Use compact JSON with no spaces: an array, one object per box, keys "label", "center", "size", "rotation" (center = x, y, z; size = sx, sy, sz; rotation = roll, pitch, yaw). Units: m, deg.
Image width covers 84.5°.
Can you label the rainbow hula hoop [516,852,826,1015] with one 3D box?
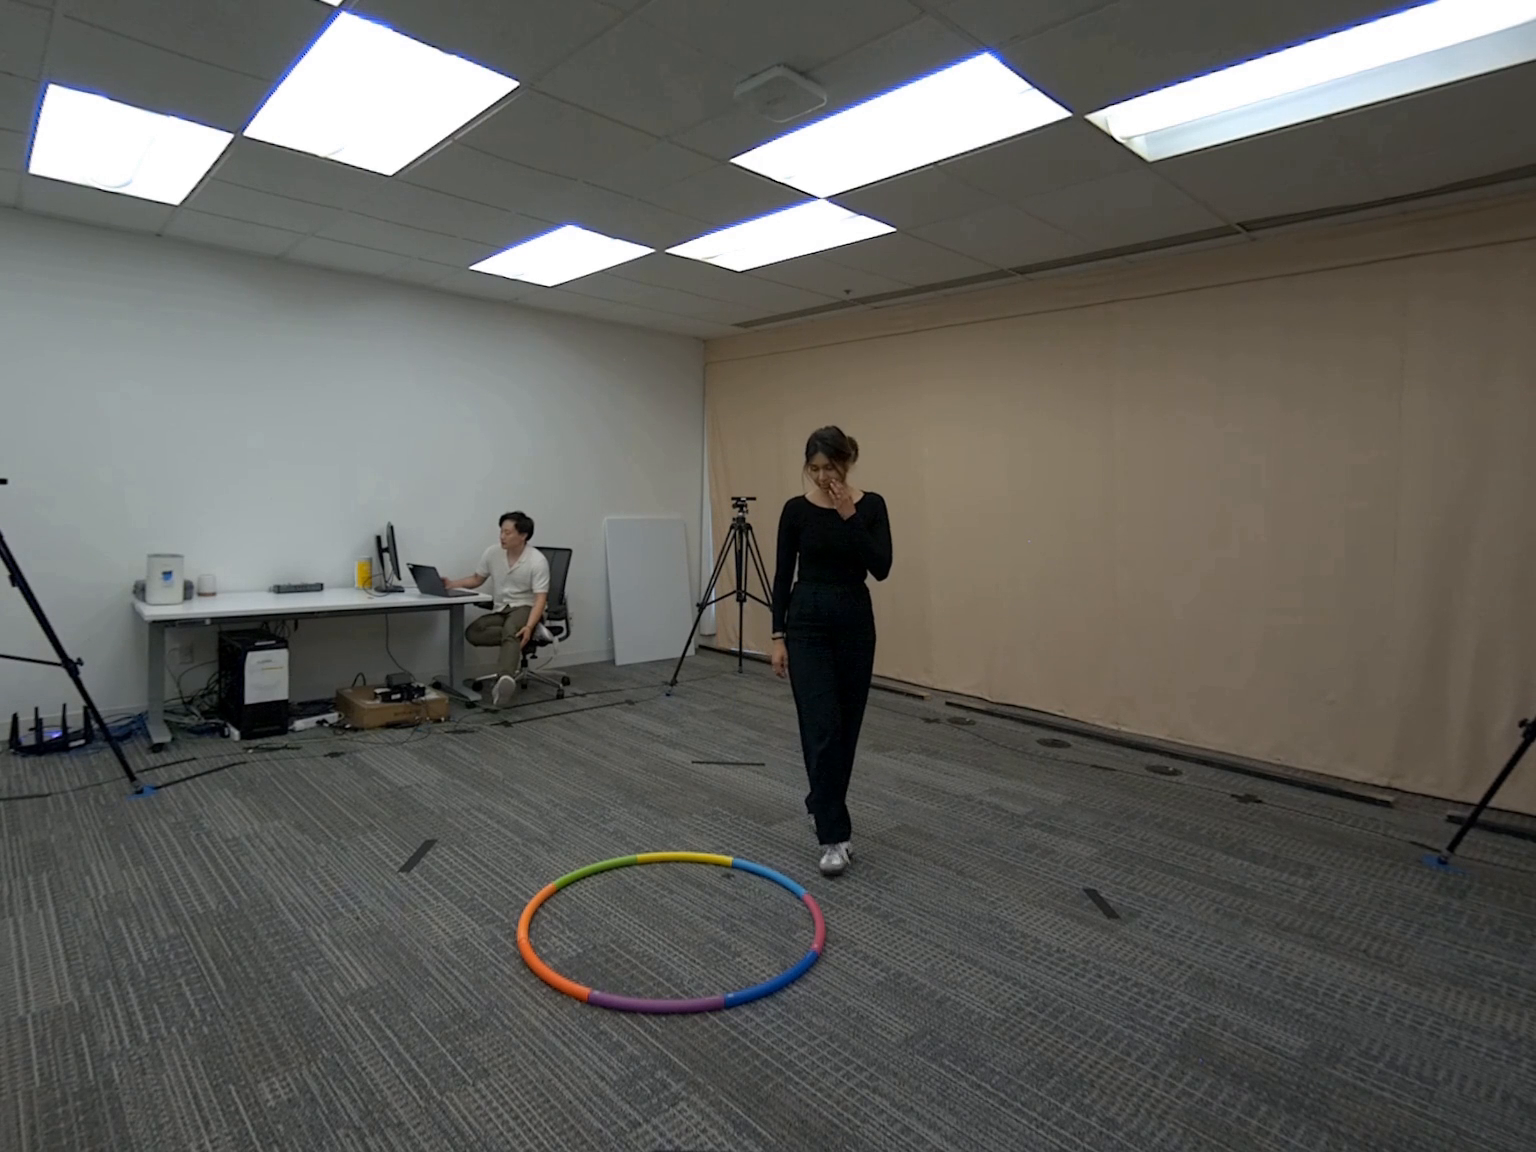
[{"label":"rainbow hula hoop","center":[-0.311,1.108,2.745],"size":[0.978,0.035,0.982],"rotation":[1,5,-1]}]
